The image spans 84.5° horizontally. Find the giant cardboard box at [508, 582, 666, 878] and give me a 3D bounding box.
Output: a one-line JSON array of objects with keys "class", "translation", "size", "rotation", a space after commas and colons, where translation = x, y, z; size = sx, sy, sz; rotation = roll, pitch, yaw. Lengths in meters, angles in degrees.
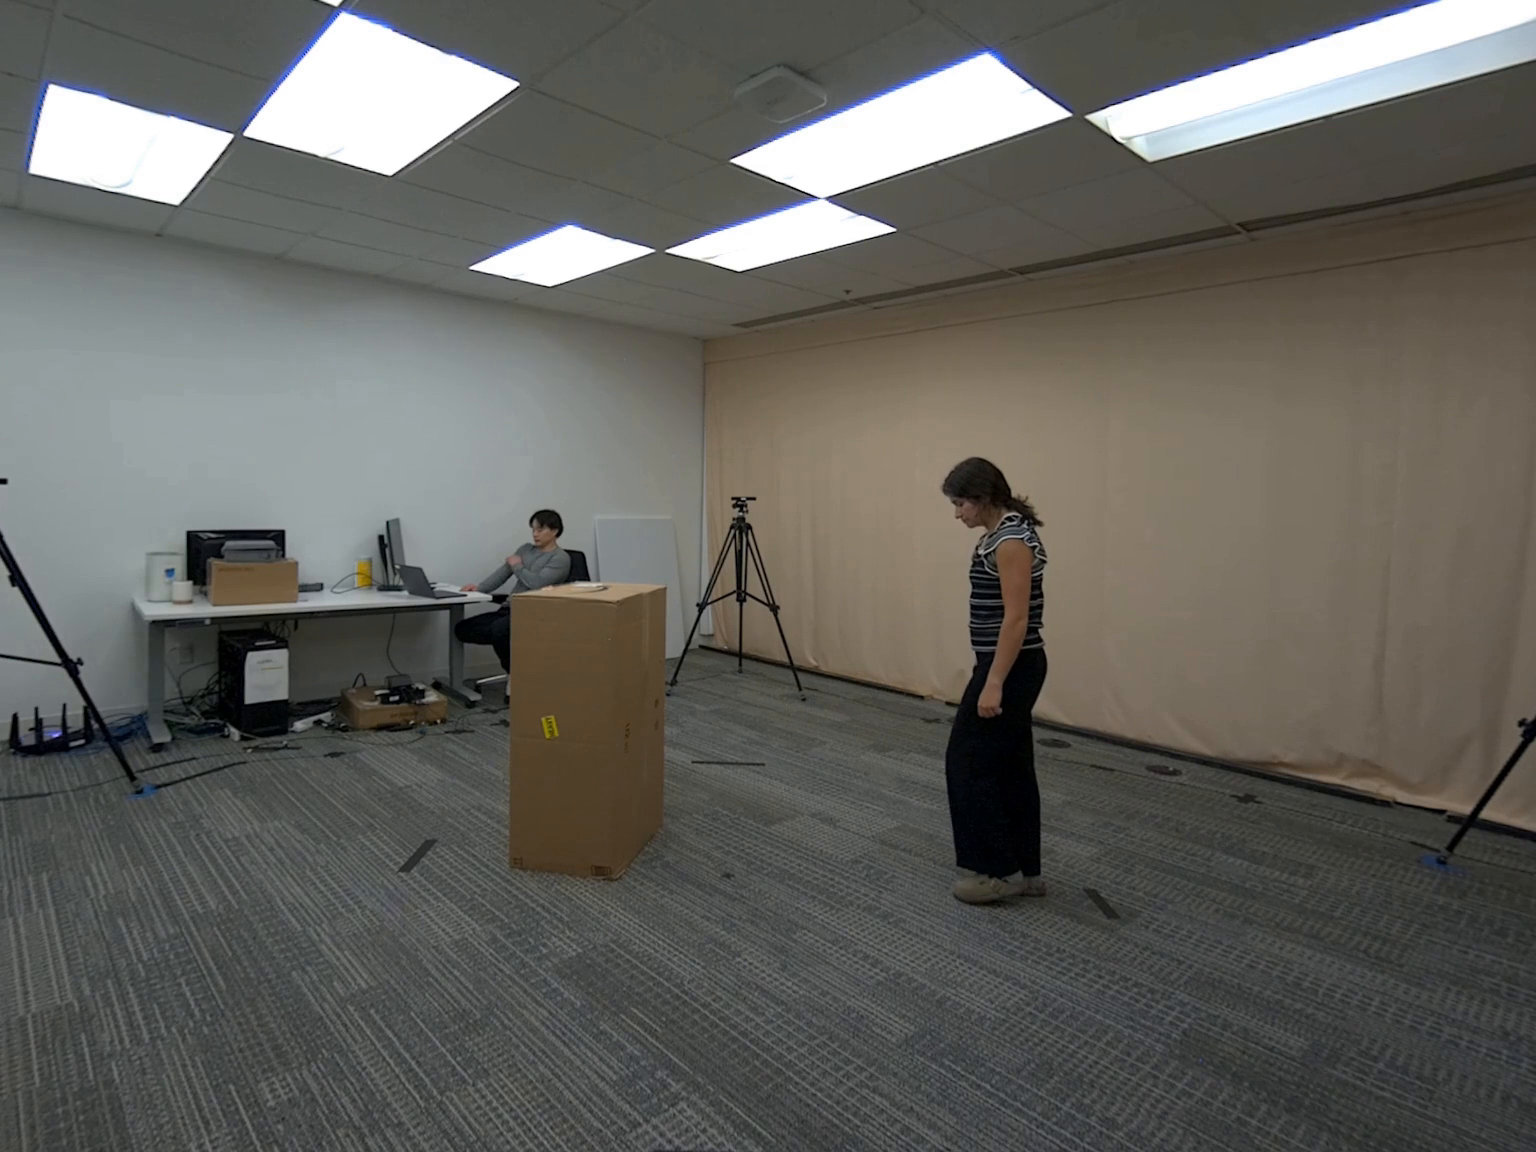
[{"class": "giant cardboard box", "translation": [-0.701, 0.561, 3.341], "size": [0.431, 1.023, 0.573], "rotation": [2, 4, 12]}]
